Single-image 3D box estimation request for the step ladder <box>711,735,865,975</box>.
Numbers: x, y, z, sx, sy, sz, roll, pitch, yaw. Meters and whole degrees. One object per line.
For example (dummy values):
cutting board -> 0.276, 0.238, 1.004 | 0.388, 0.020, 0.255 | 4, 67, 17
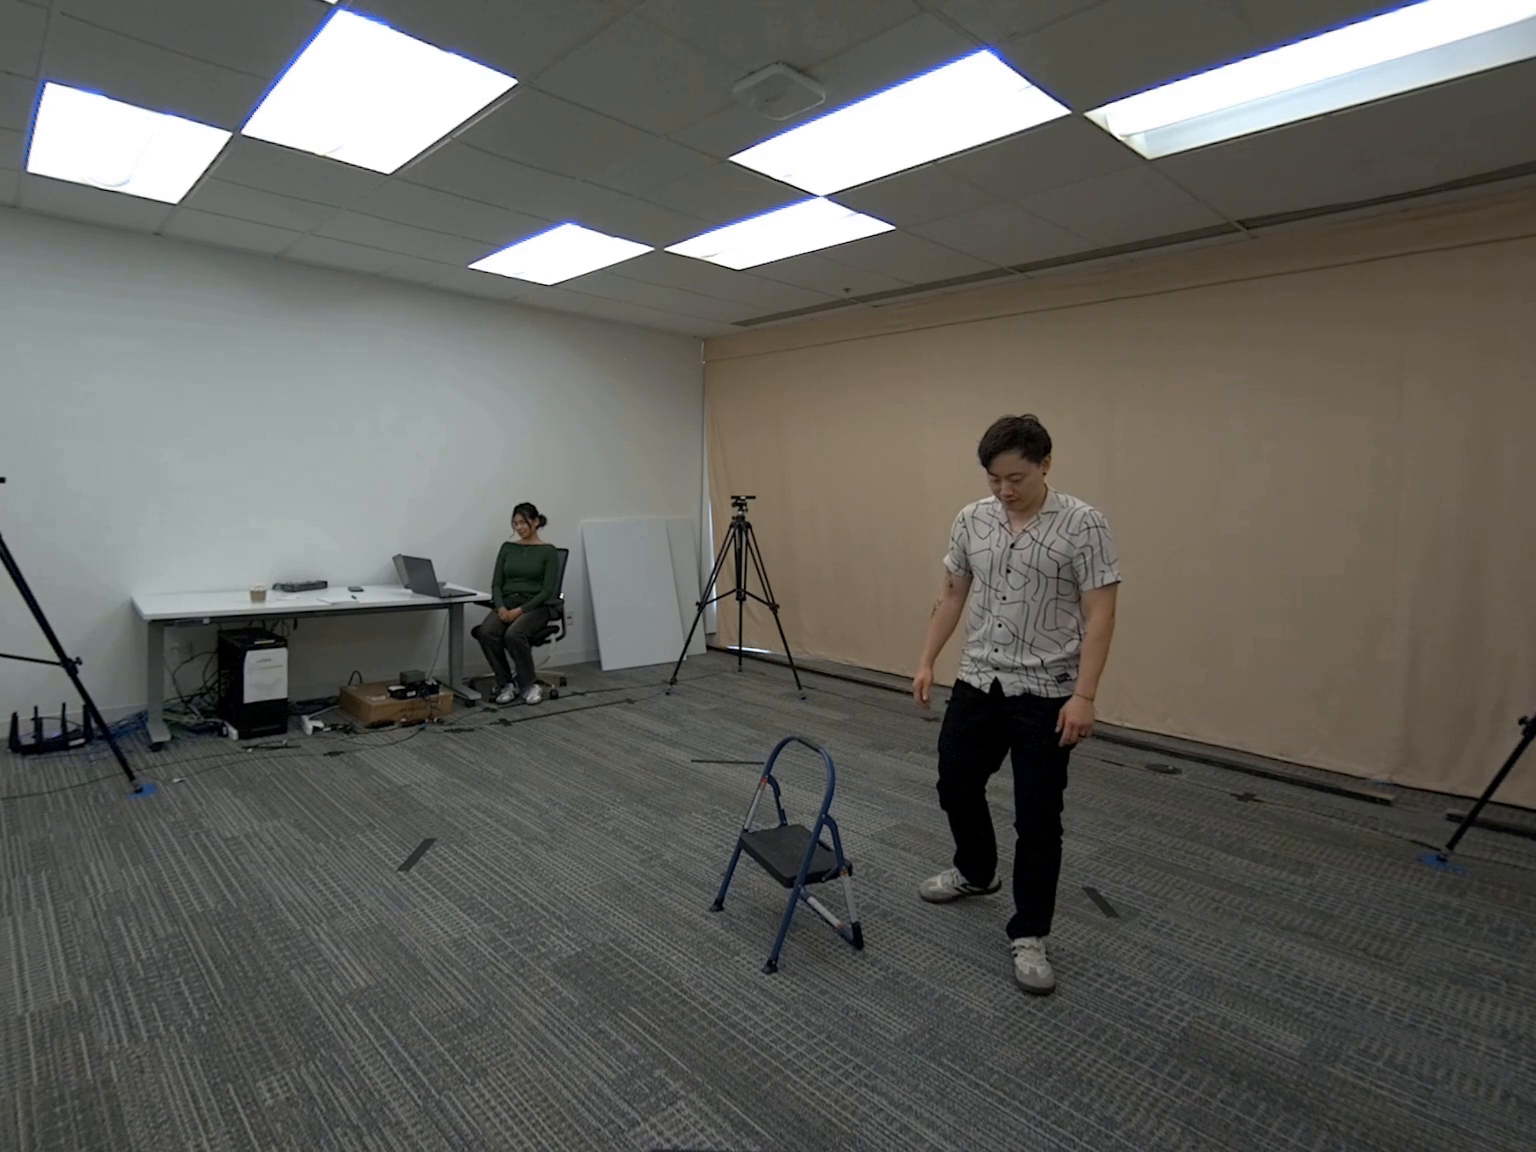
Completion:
step ladder -> 0.054, 0.838, 2.706 | 0.343, 0.604, 0.440 | -1, 5, -26
